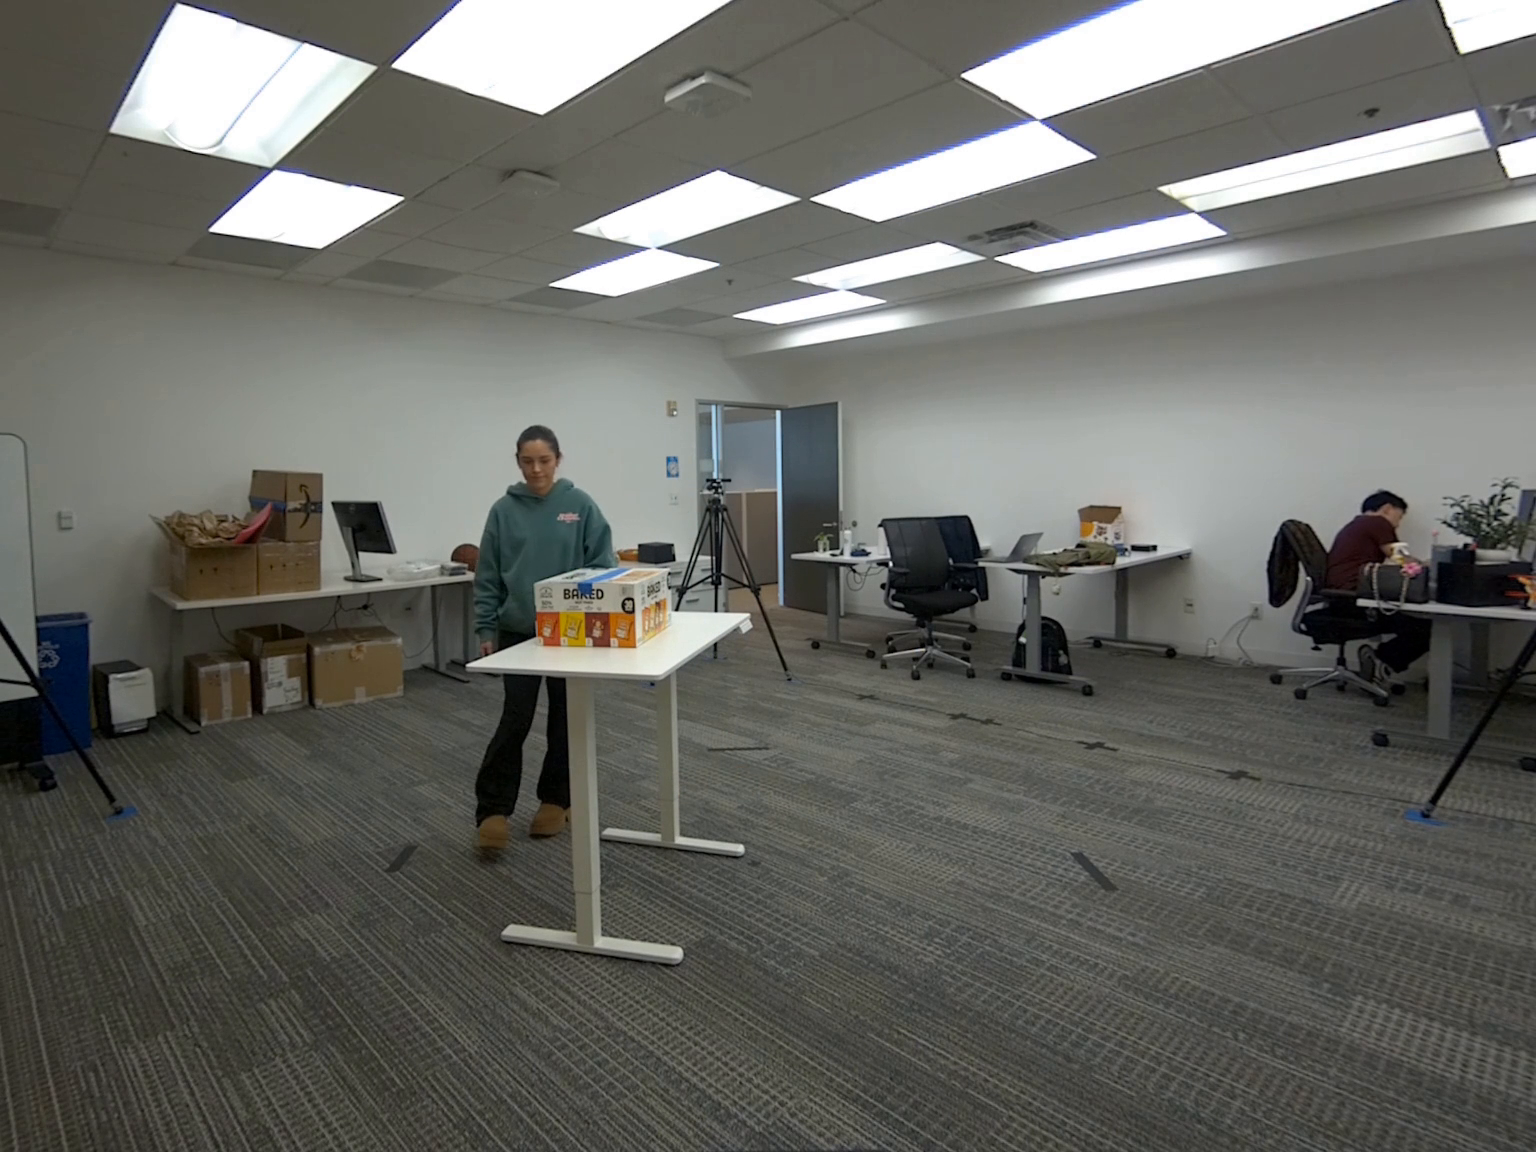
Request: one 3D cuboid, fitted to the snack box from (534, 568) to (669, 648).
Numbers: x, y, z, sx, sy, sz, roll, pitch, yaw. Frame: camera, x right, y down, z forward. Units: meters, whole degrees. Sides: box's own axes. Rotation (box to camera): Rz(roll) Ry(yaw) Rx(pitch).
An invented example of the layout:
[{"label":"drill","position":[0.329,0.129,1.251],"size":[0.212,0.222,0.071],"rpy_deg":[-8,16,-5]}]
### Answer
[{"label":"snack box","position":[-0.541,0.099,2.874],"size":[0.344,0.205,0.402],"rpy_deg":[0,7,11]}]
